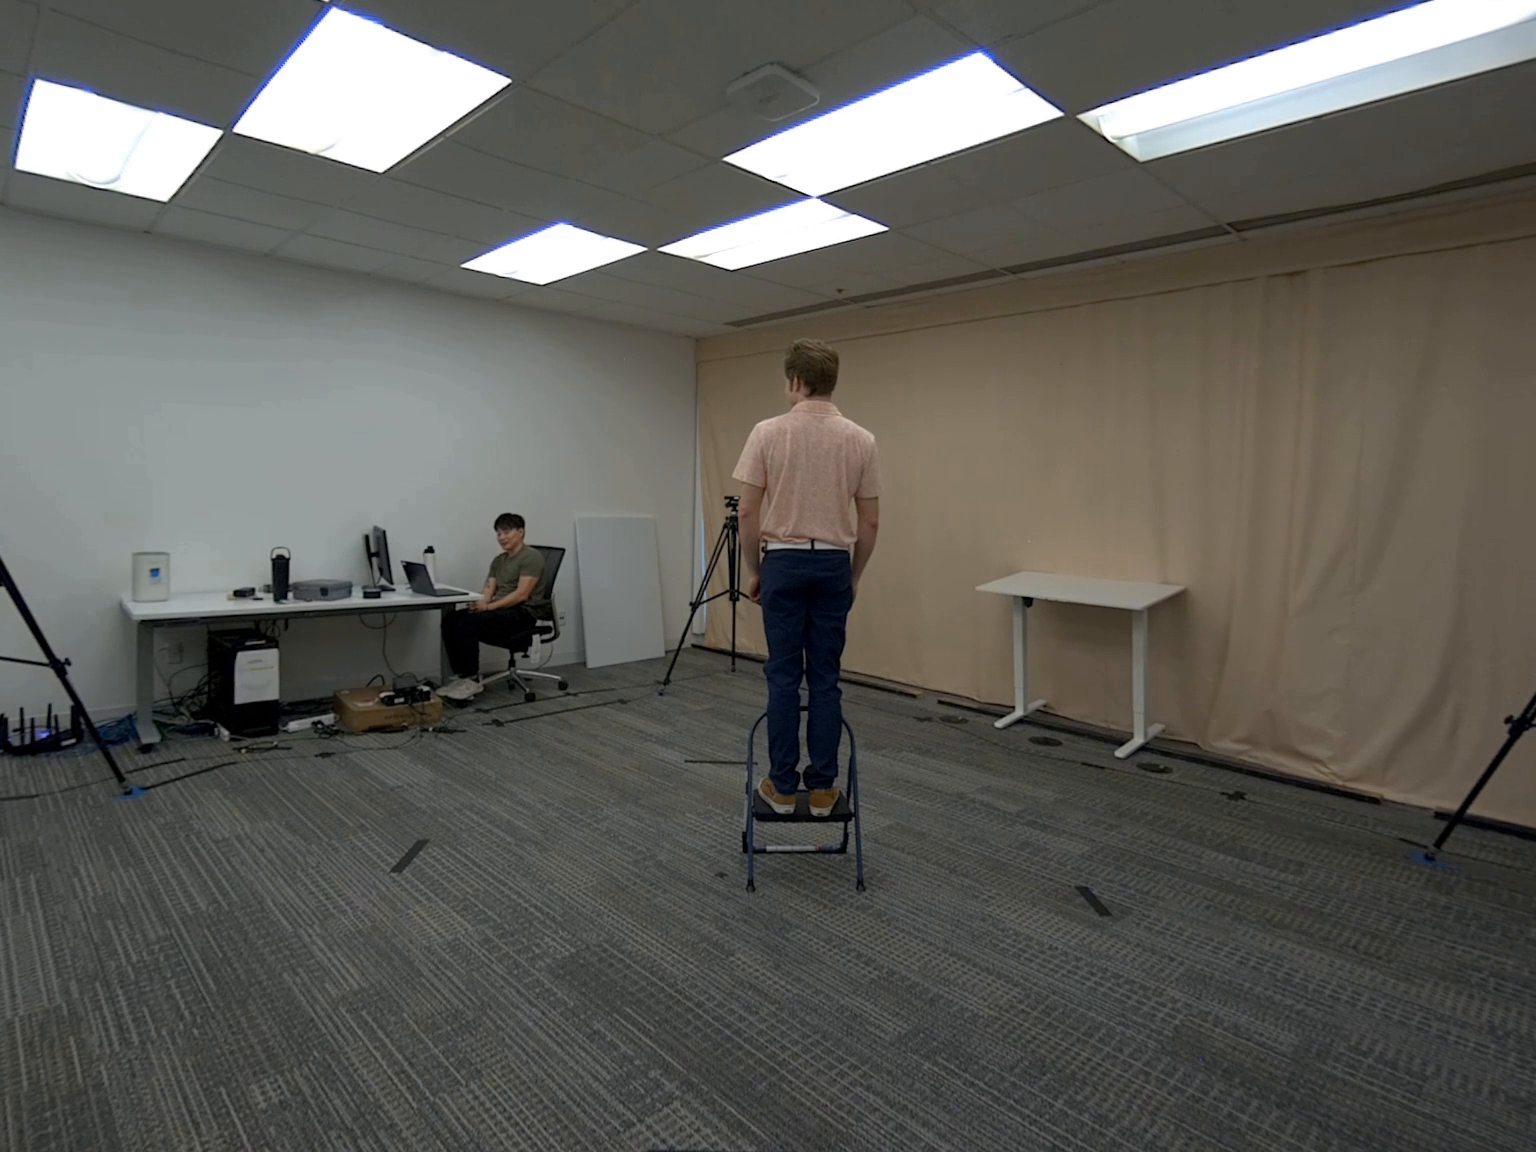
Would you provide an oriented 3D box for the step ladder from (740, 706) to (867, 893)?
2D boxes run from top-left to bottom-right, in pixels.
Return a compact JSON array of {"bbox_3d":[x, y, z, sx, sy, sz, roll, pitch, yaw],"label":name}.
[{"bbox_3d":[0.122,0.807,3.149,0.429,0.604,0.352,1,4,-5],"label":"step ladder"}]
